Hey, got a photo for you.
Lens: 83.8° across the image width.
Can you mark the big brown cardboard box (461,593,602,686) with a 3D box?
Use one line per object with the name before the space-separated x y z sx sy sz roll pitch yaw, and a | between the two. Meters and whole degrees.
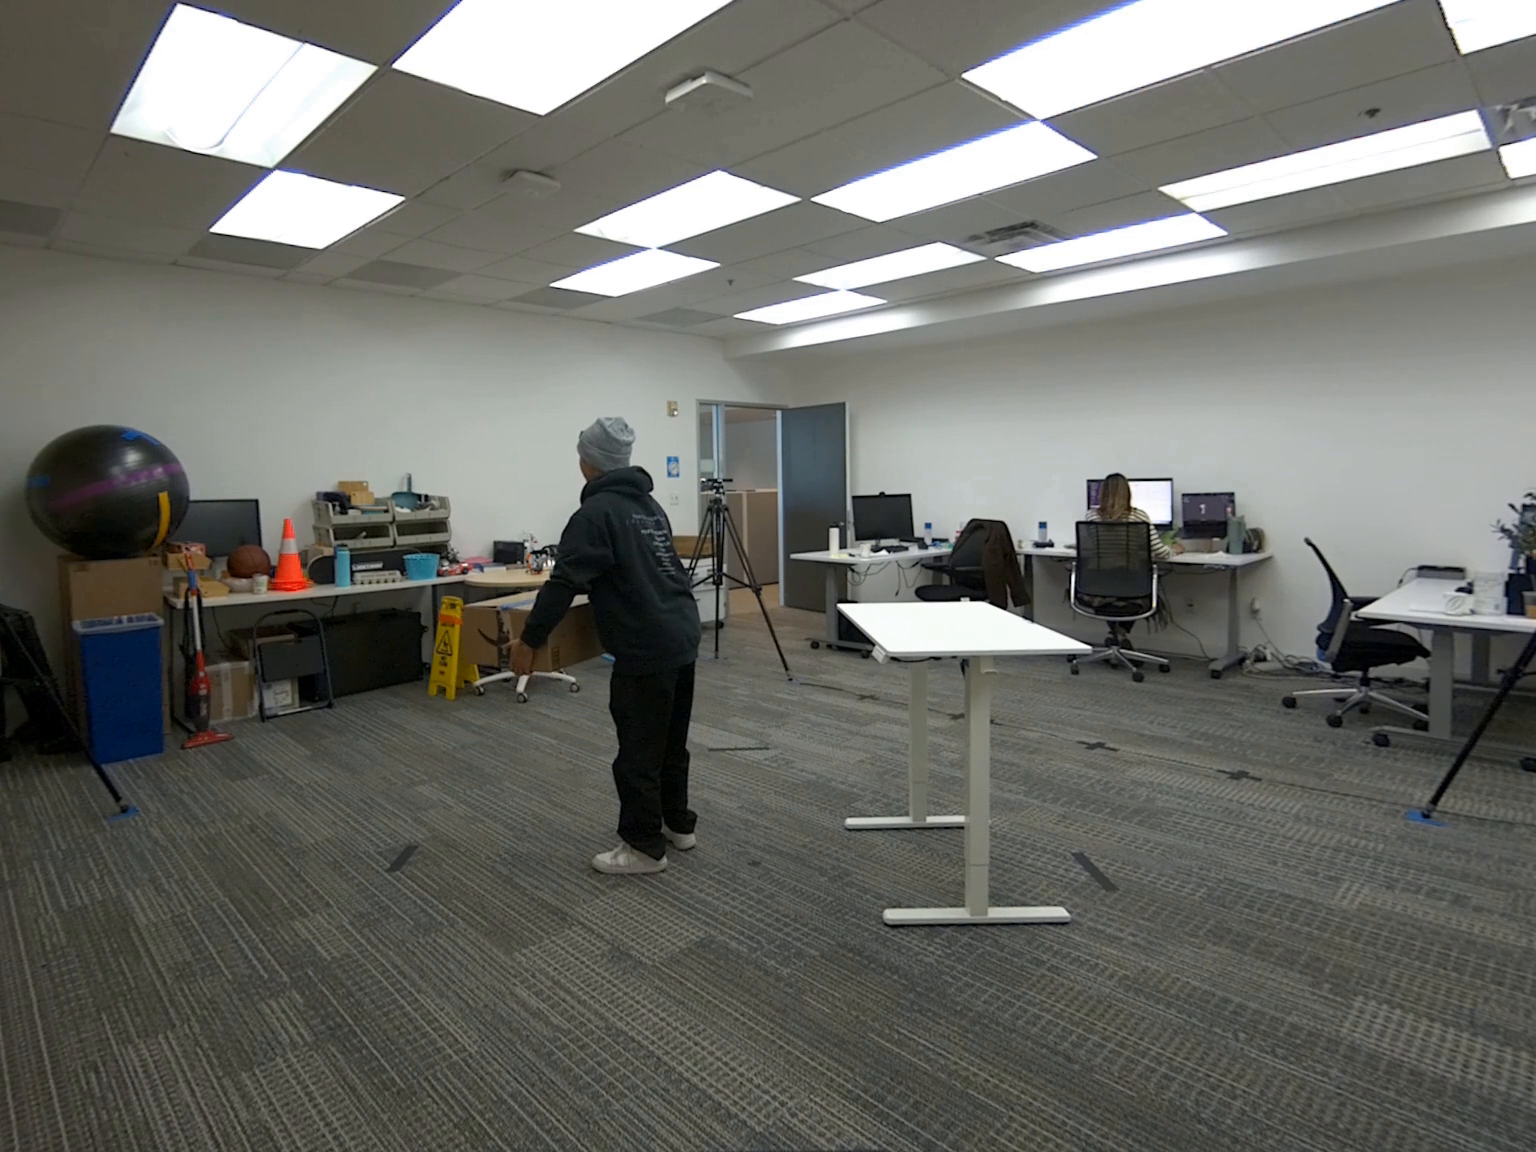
big brown cardboard box | -0.813 0.183 3.292 0.428 0.232 0.578 2 9 28
